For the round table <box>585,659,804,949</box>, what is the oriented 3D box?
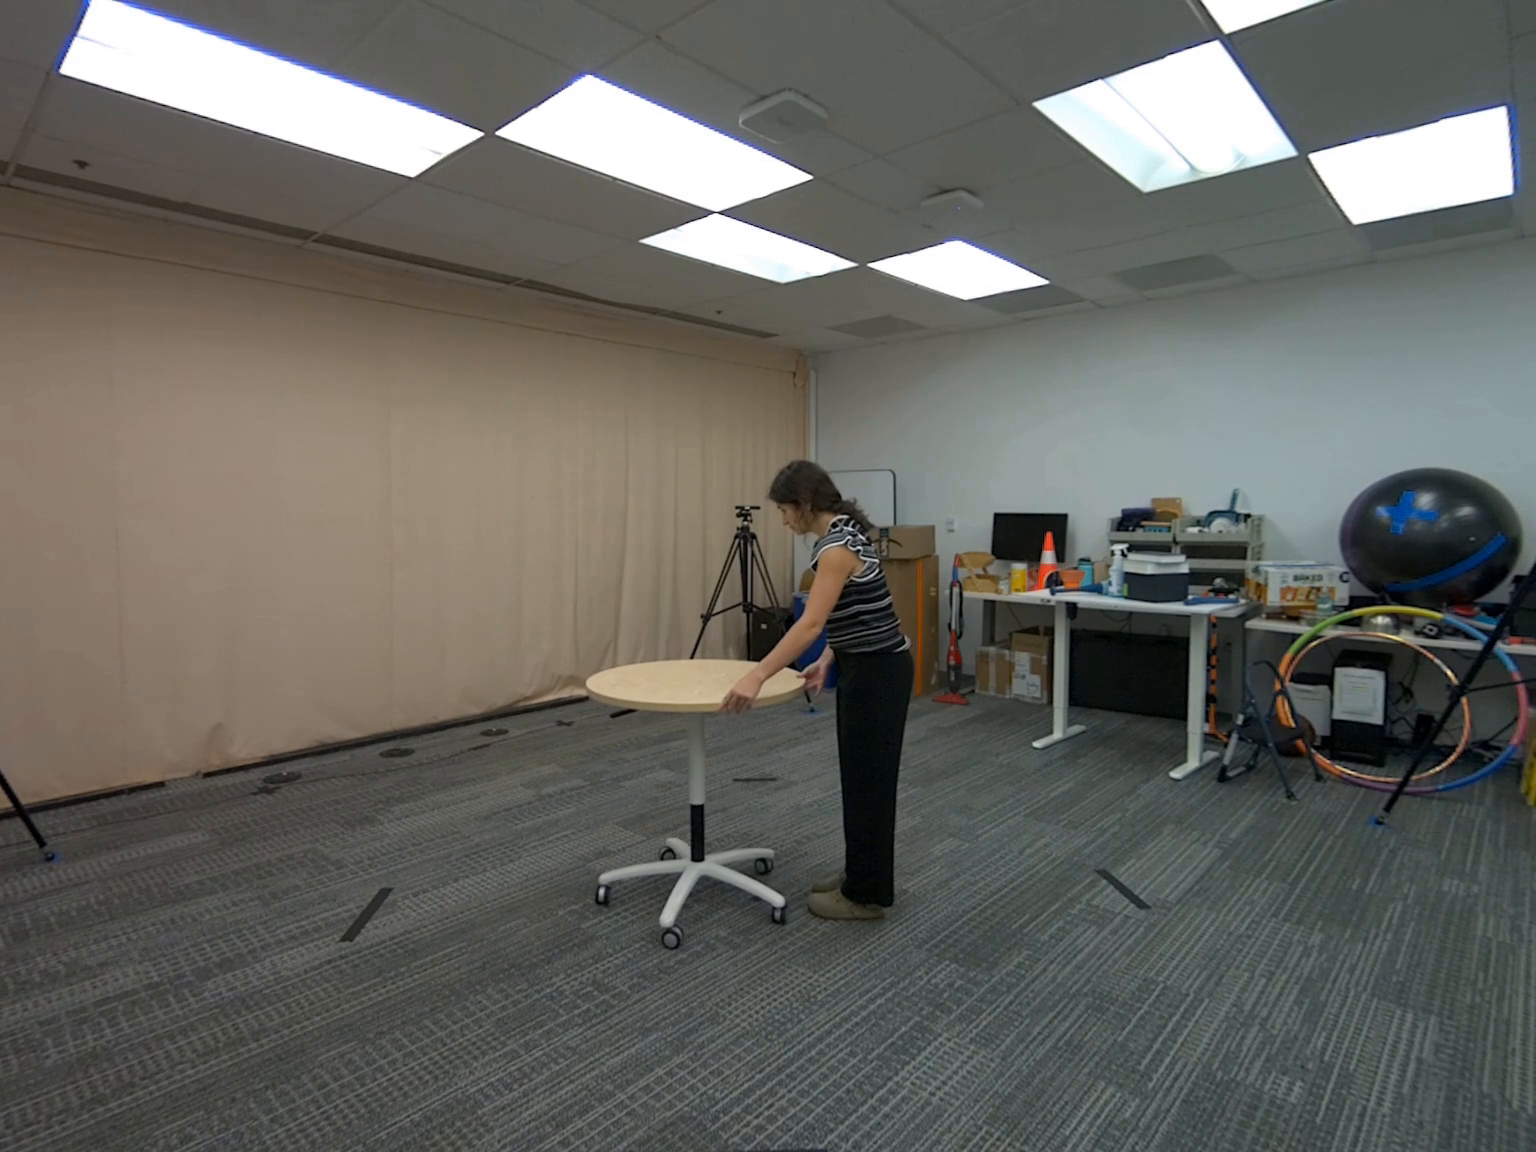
[{"bbox_3d":[-0.238,0.751,2.978,0.784,0.785,0.788,-1,4,-2],"label":"round table"}]
